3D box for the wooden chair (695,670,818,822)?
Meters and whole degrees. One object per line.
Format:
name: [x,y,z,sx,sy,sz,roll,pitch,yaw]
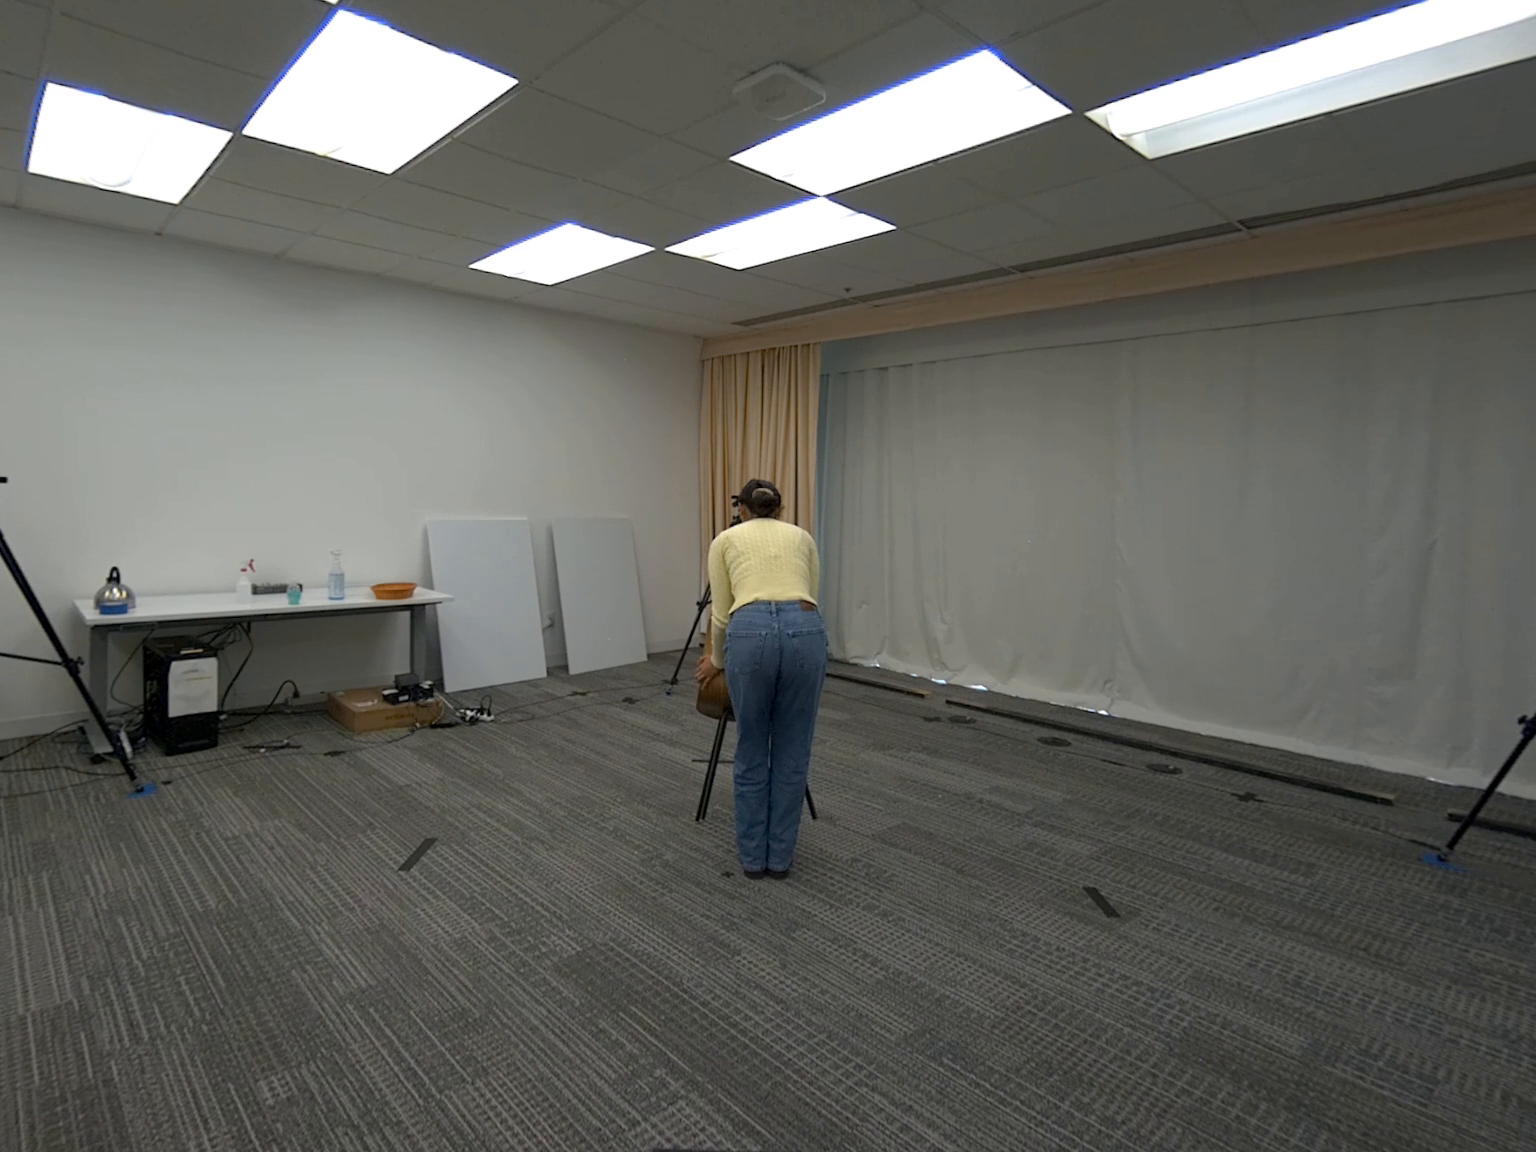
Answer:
wooden chair: [-0.075,0.588,3.553,0.476,0.887,0.519,0,-14,-5]
